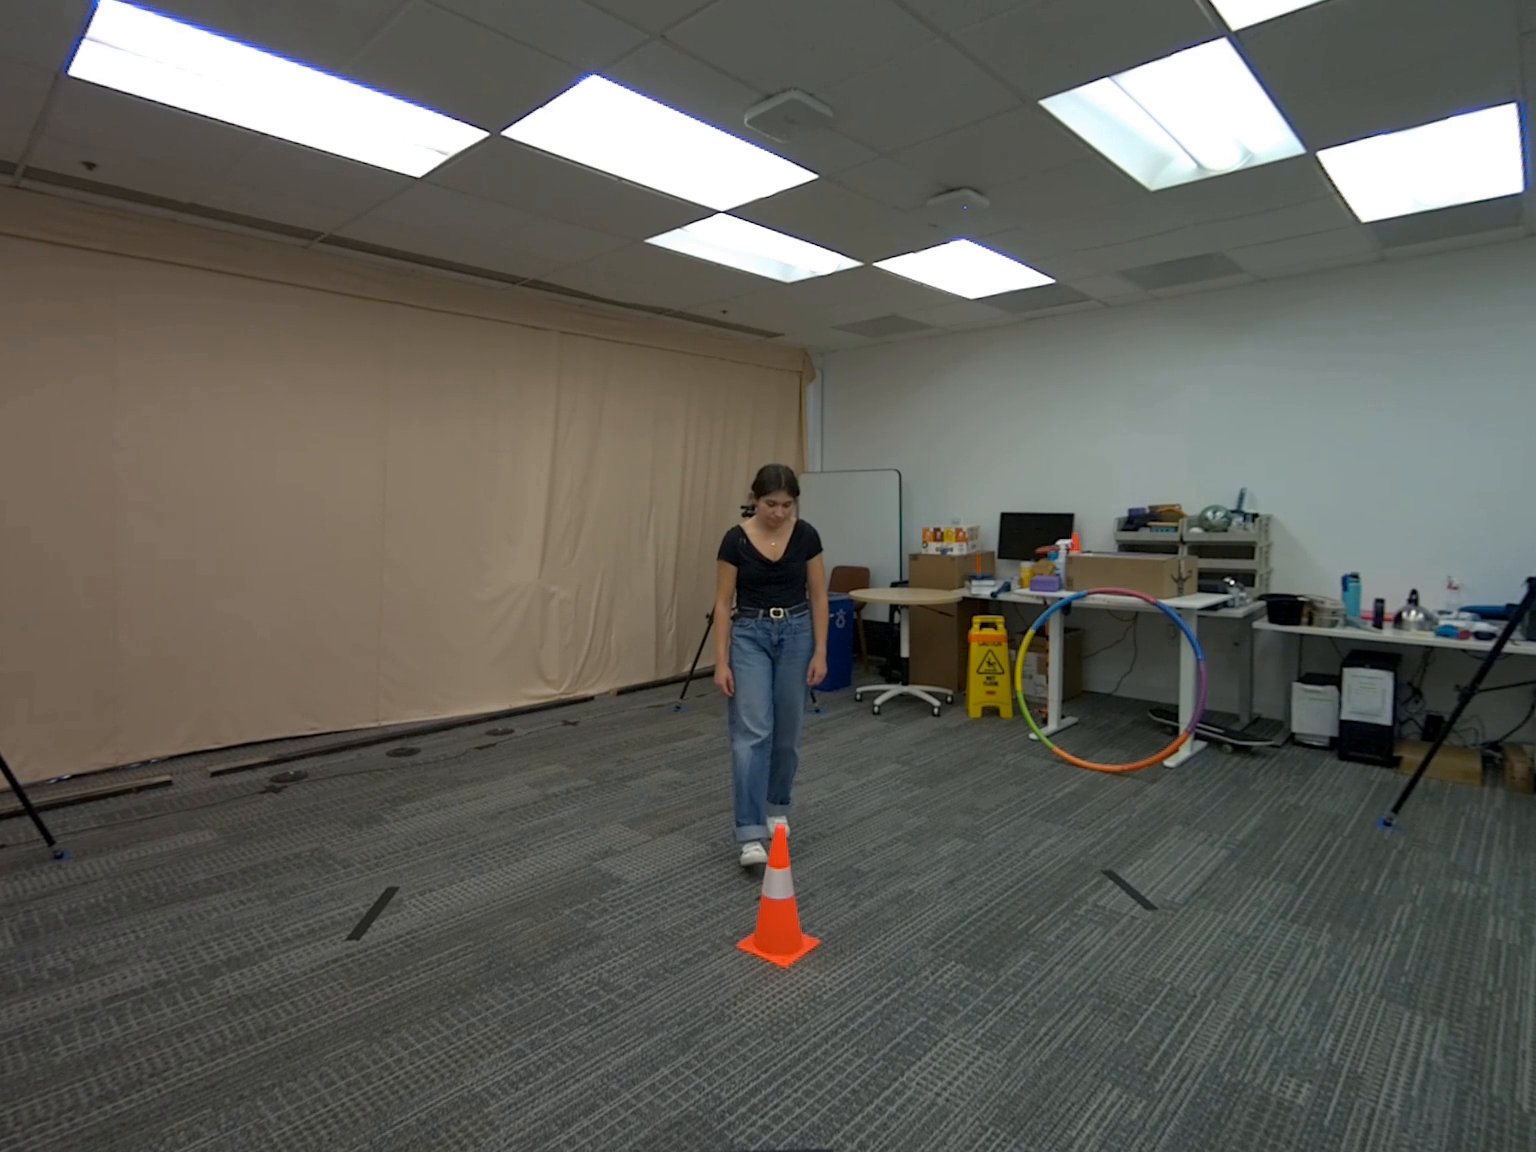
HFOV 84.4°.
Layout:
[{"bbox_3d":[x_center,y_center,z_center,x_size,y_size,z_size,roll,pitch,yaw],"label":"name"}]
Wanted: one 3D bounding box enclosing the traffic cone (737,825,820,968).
[{"bbox_3d":[0.031,0.983,2.670,0.210,0.383,0.199,1,3,35],"label":"traffic cone"}]
